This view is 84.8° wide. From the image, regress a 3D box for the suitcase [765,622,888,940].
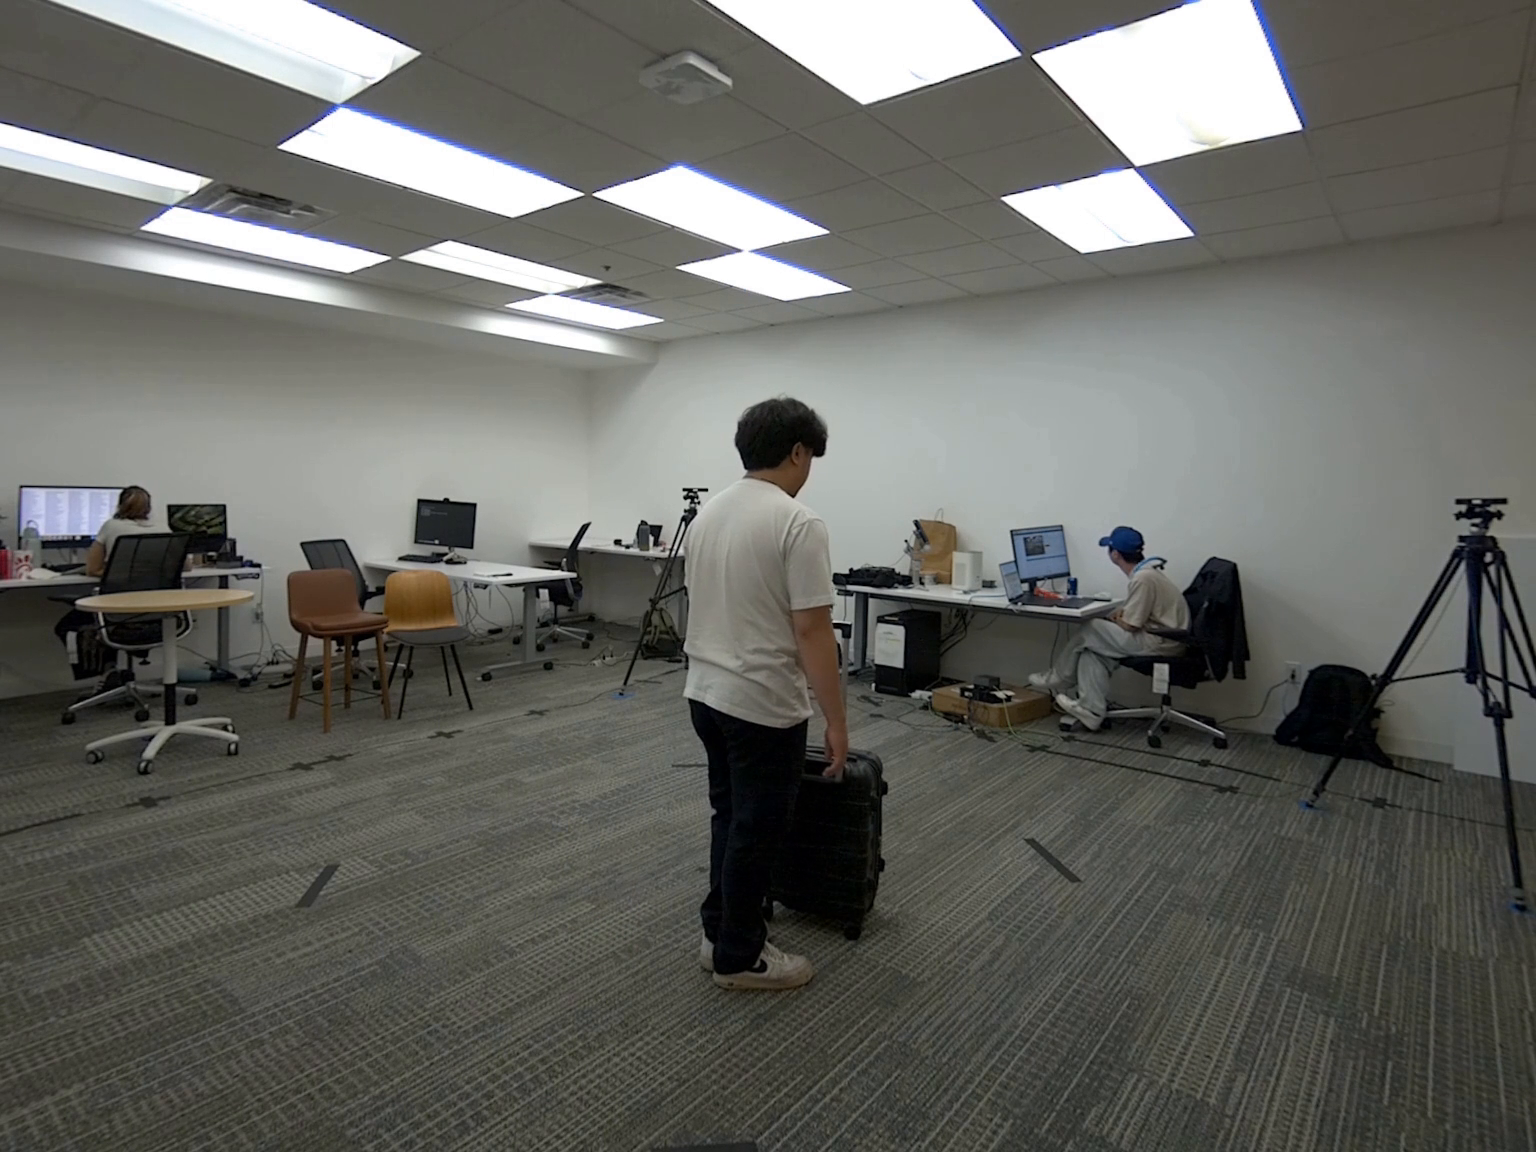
[{"bbox_3d":[0.188,0.628,2.796,0.392,0.980,0.251,4,-1,19],"label":"suitcase"}]
